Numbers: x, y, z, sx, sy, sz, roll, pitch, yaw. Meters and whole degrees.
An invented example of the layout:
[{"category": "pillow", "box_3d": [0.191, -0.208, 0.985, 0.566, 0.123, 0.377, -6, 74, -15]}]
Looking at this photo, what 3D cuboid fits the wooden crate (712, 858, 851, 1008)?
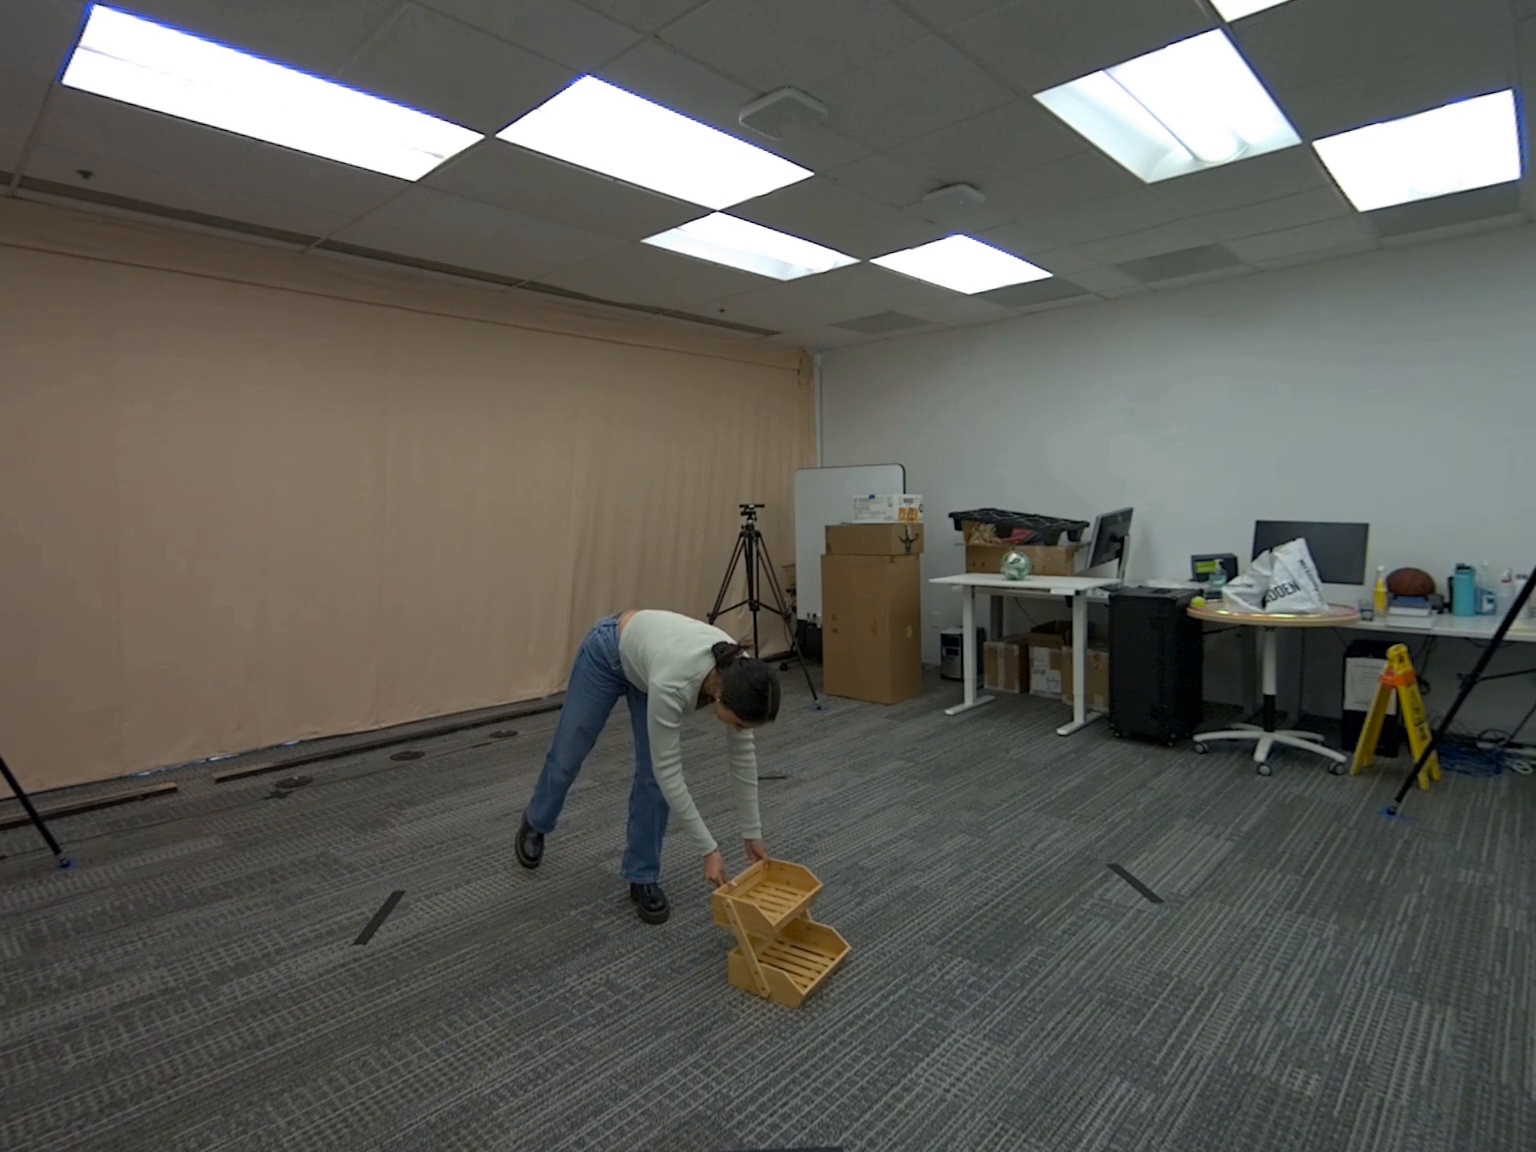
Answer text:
[{"category": "wooden crate", "box_3d": [0.050, 1.047, 2.504, 0.311, 0.273, 0.315, 1, 4, 33]}]
